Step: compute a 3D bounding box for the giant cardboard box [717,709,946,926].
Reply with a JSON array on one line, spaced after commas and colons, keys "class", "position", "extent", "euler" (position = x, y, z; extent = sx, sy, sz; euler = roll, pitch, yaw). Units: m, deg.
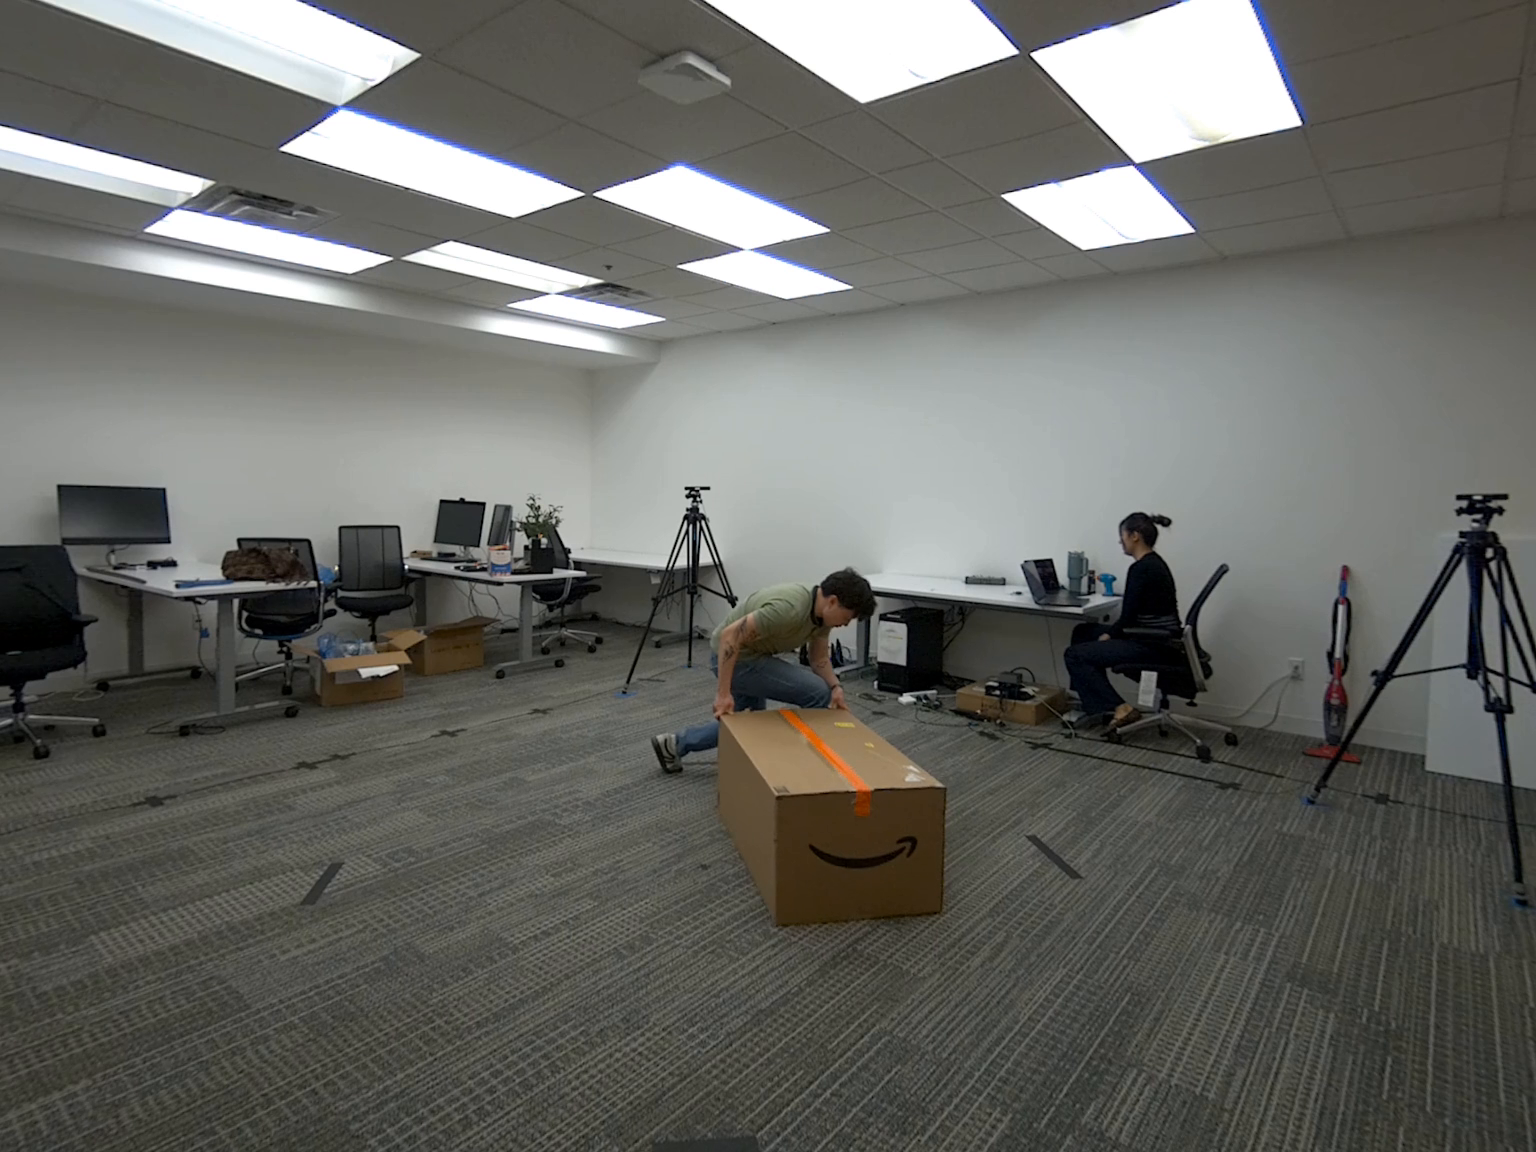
[{"class": "giant cardboard box", "position": [0.173, 0.845, 3.234], "extent": [0.570, 0.425, 1.043], "euler": [1, 5, -14]}]
